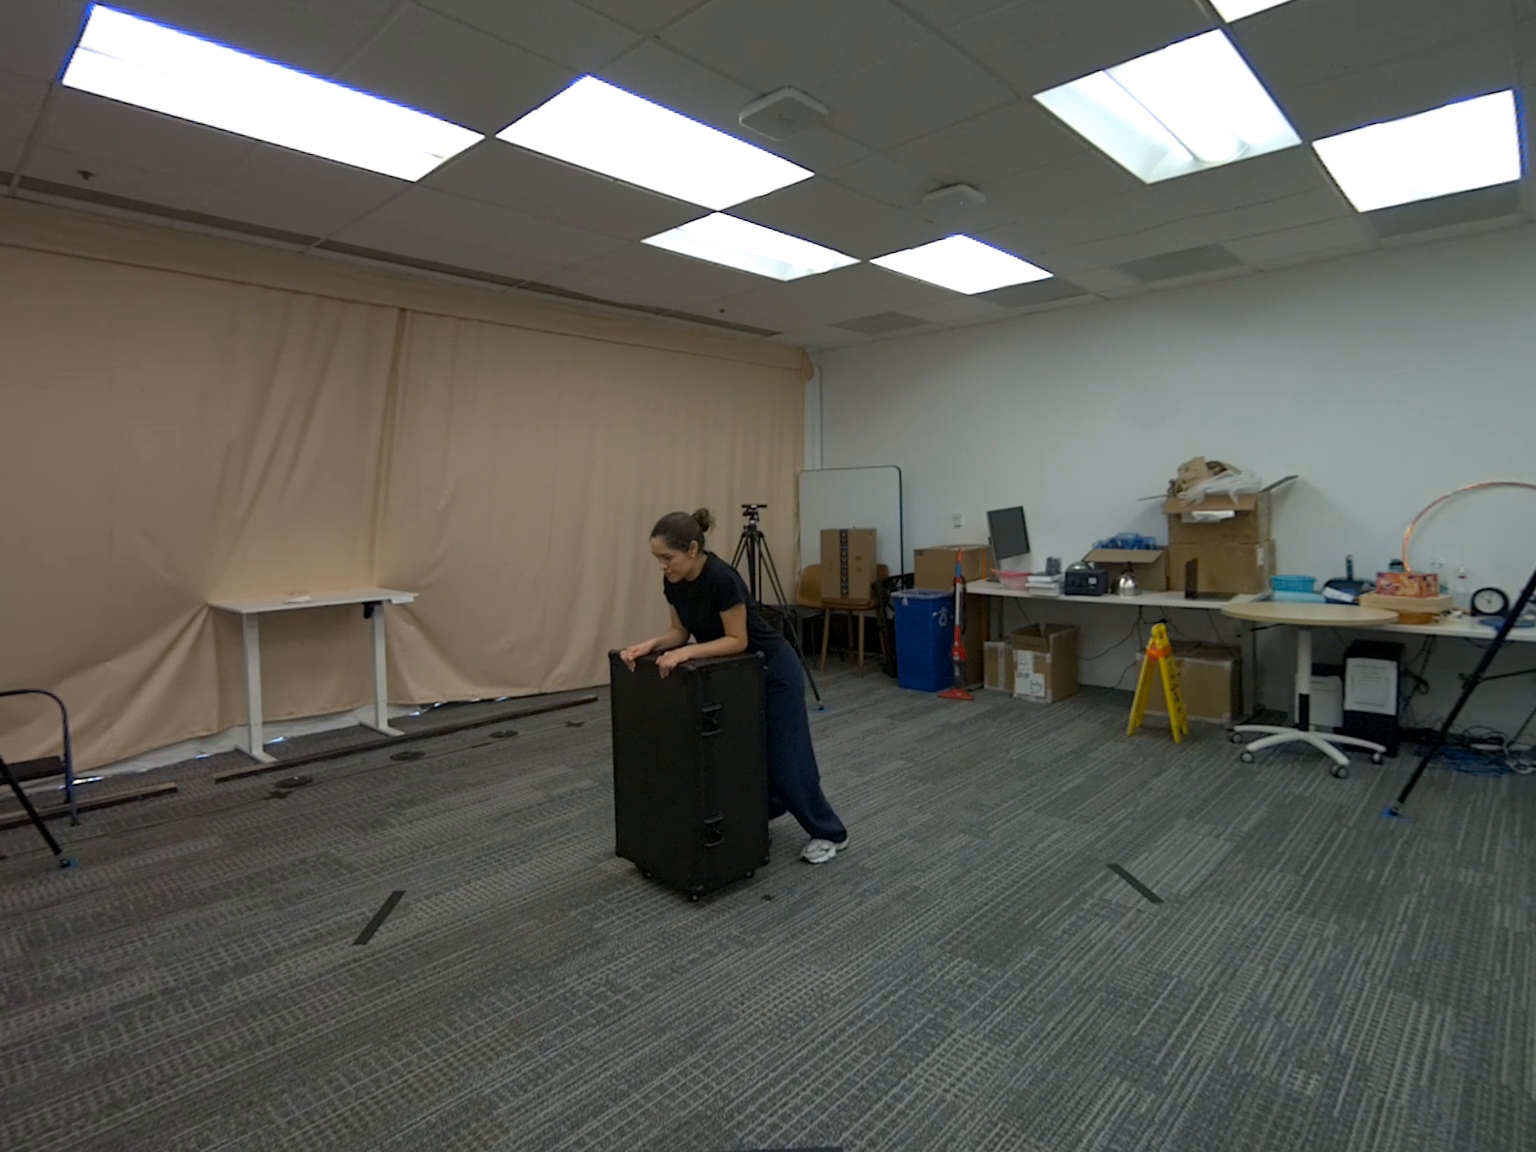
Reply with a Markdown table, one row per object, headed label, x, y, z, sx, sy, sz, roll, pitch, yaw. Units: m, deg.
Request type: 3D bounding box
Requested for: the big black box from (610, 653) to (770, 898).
| label | x | y | z | sx | sy | sz | roll | pitch | yaw |
| --- | --- | --- | --- | --- | --- | --- | --- | --- | --- |
| big black box | -0.274 | 0.652 | 3.139 | 0.384 | 0.859 | 0.538 | -5 | 5 | -44 |
